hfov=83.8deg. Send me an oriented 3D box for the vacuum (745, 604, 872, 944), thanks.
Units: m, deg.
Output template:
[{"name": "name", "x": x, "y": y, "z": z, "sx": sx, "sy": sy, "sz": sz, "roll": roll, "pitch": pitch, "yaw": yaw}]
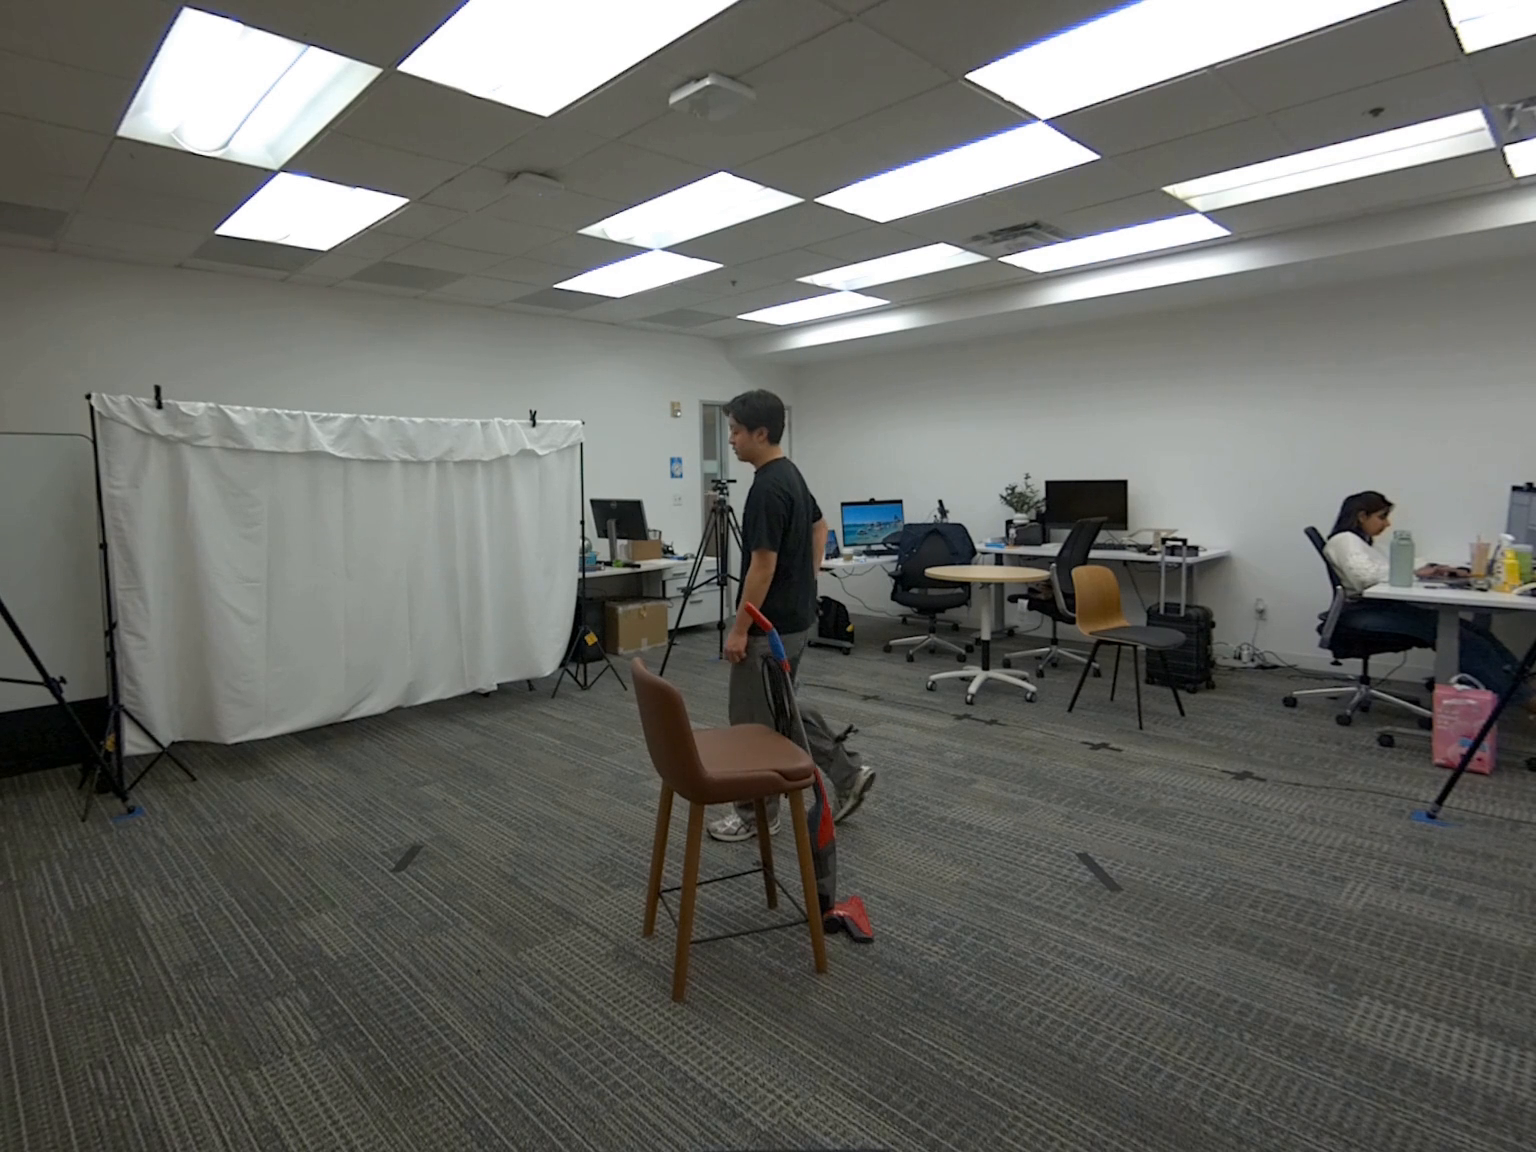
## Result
[{"name": "vacuum", "x": 0.076, "y": 0.591, "z": 2.668, "sx": 0.144, "sy": 1.046, "sz": 0.252, "roll": -16, "pitch": 3, "yaw": 4}]
